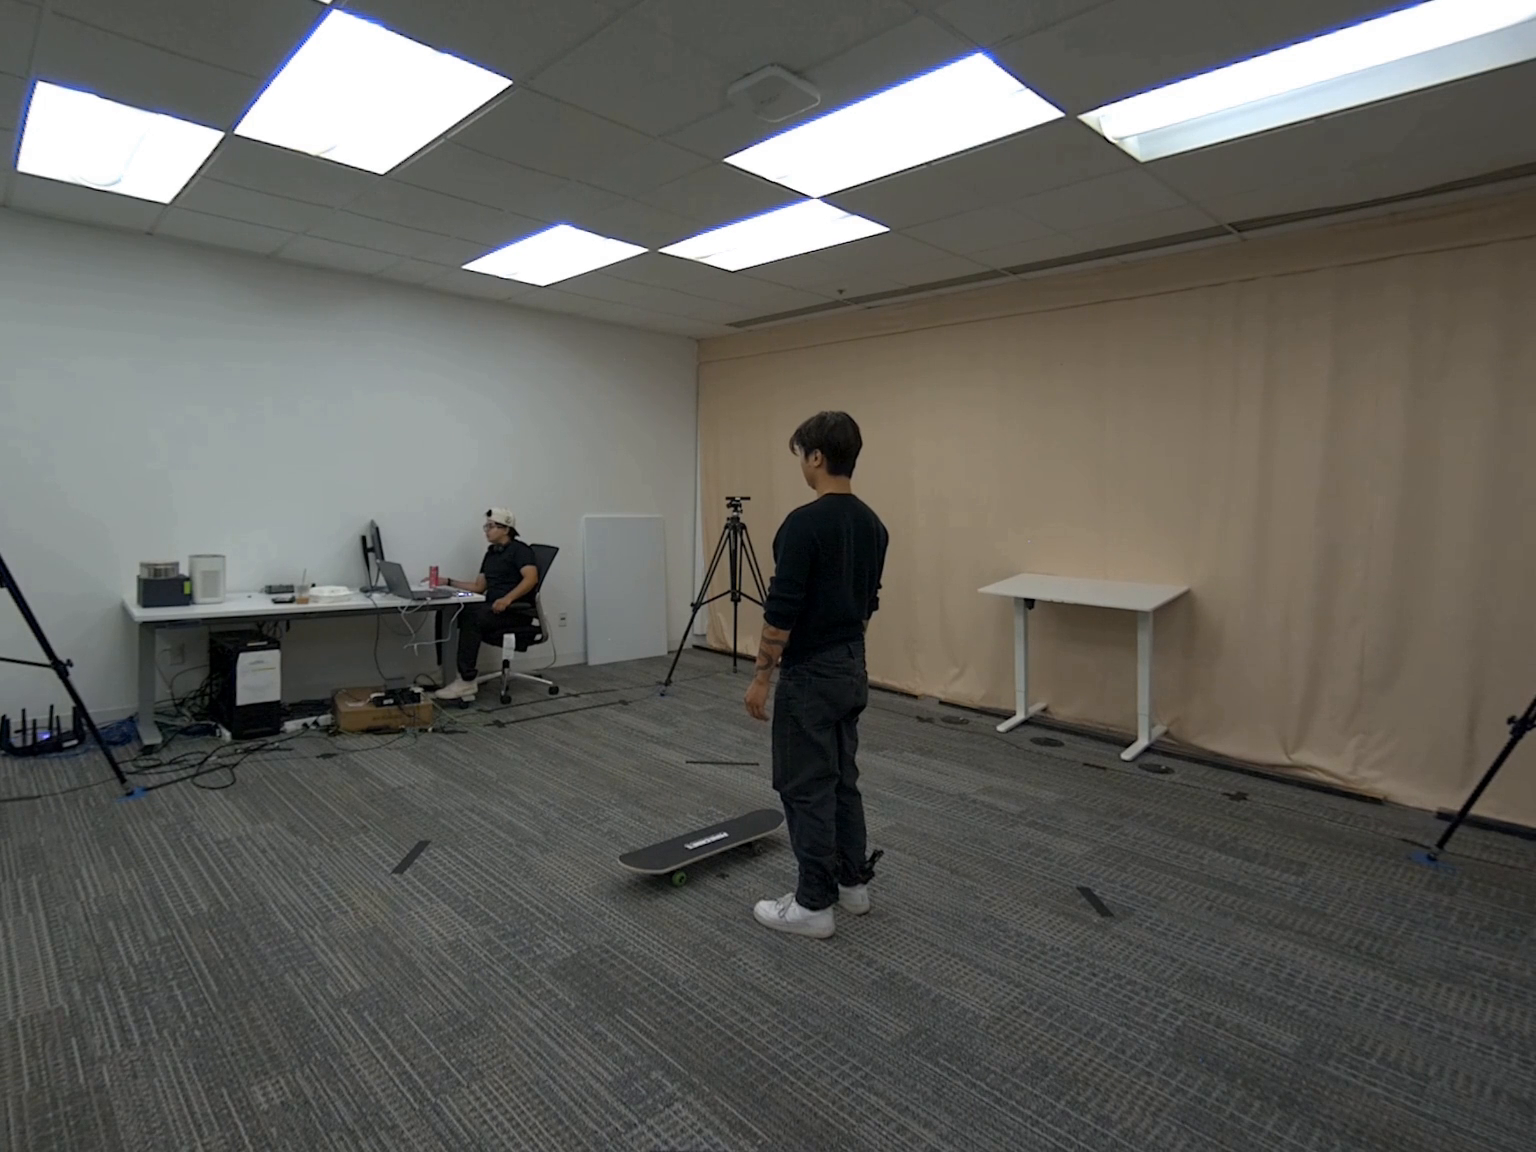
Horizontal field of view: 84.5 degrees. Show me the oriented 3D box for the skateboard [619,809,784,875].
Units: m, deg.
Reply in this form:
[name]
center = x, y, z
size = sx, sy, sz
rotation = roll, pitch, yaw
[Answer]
[skateboard]
center = -0.242, 1.034, 3.209
size = 0.768, 0.110, 0.198
rotation = -4, 7, -45
